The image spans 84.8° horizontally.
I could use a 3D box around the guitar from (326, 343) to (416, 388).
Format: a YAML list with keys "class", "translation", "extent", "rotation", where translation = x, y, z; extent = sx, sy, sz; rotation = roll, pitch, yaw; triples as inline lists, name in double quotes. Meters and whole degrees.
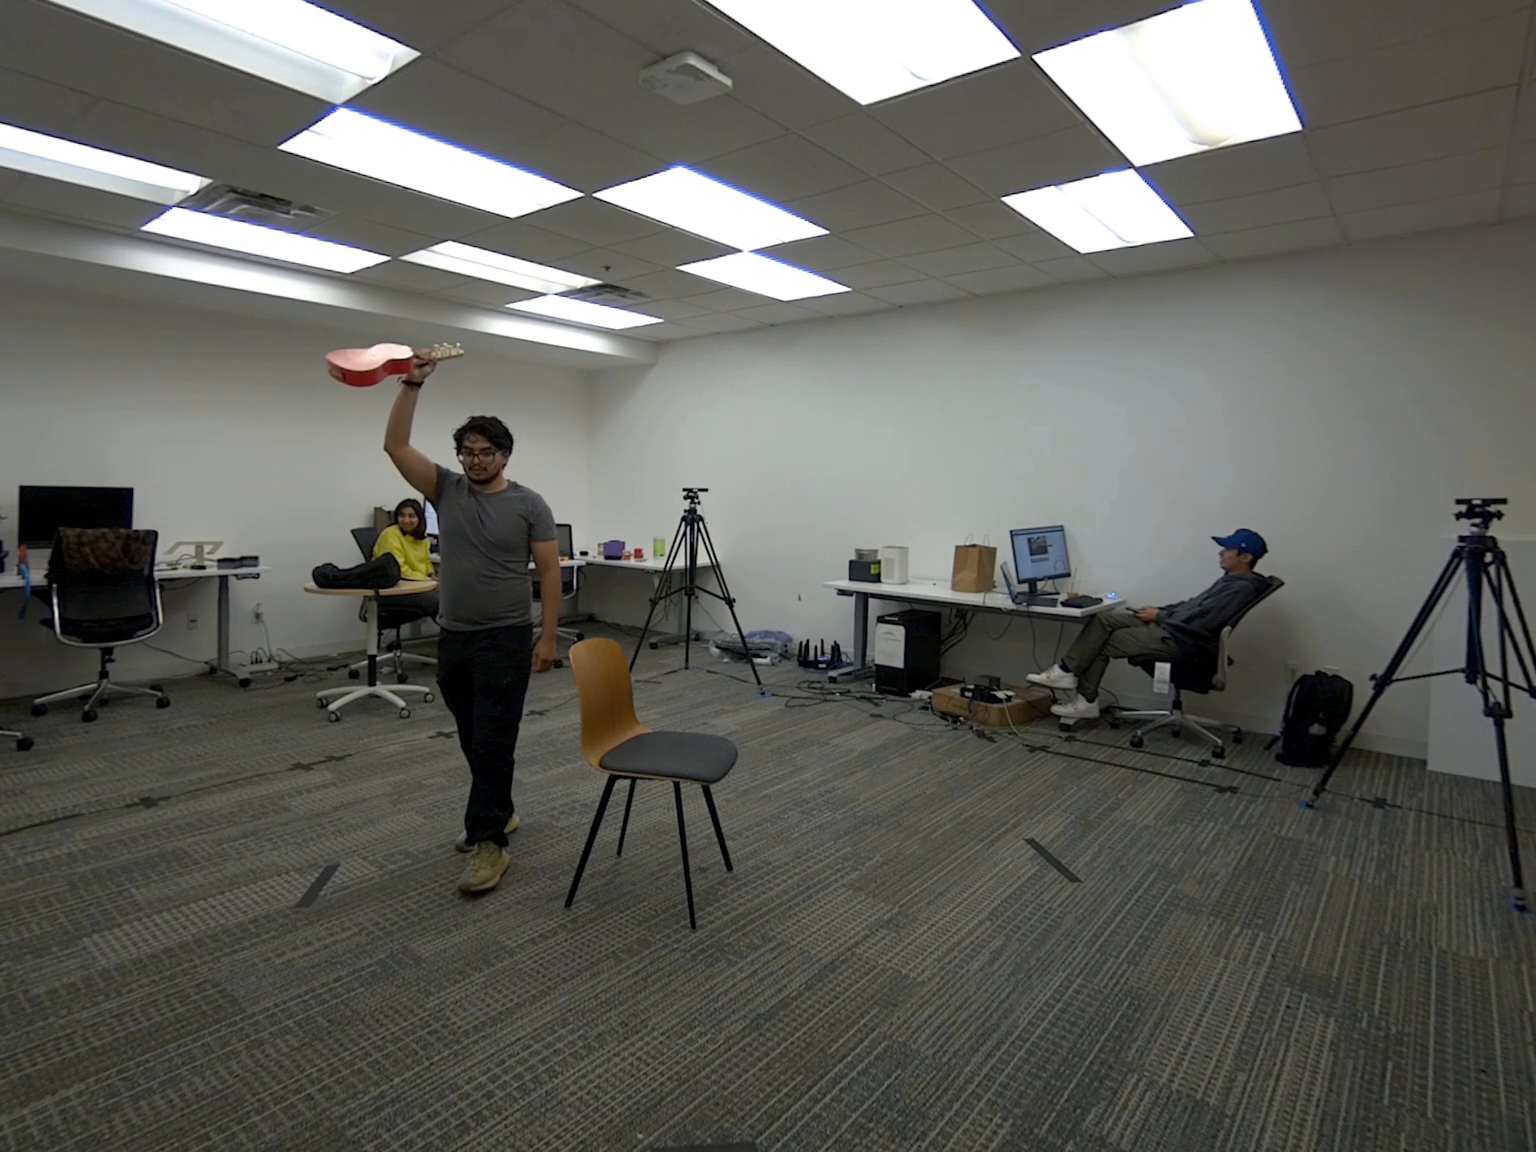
- class: "guitar"
  translation: [-1.295, -0.766, 2.931]
  extent: [0.198, 0.069, 0.496]
  rotation: [19, 34, 17]
